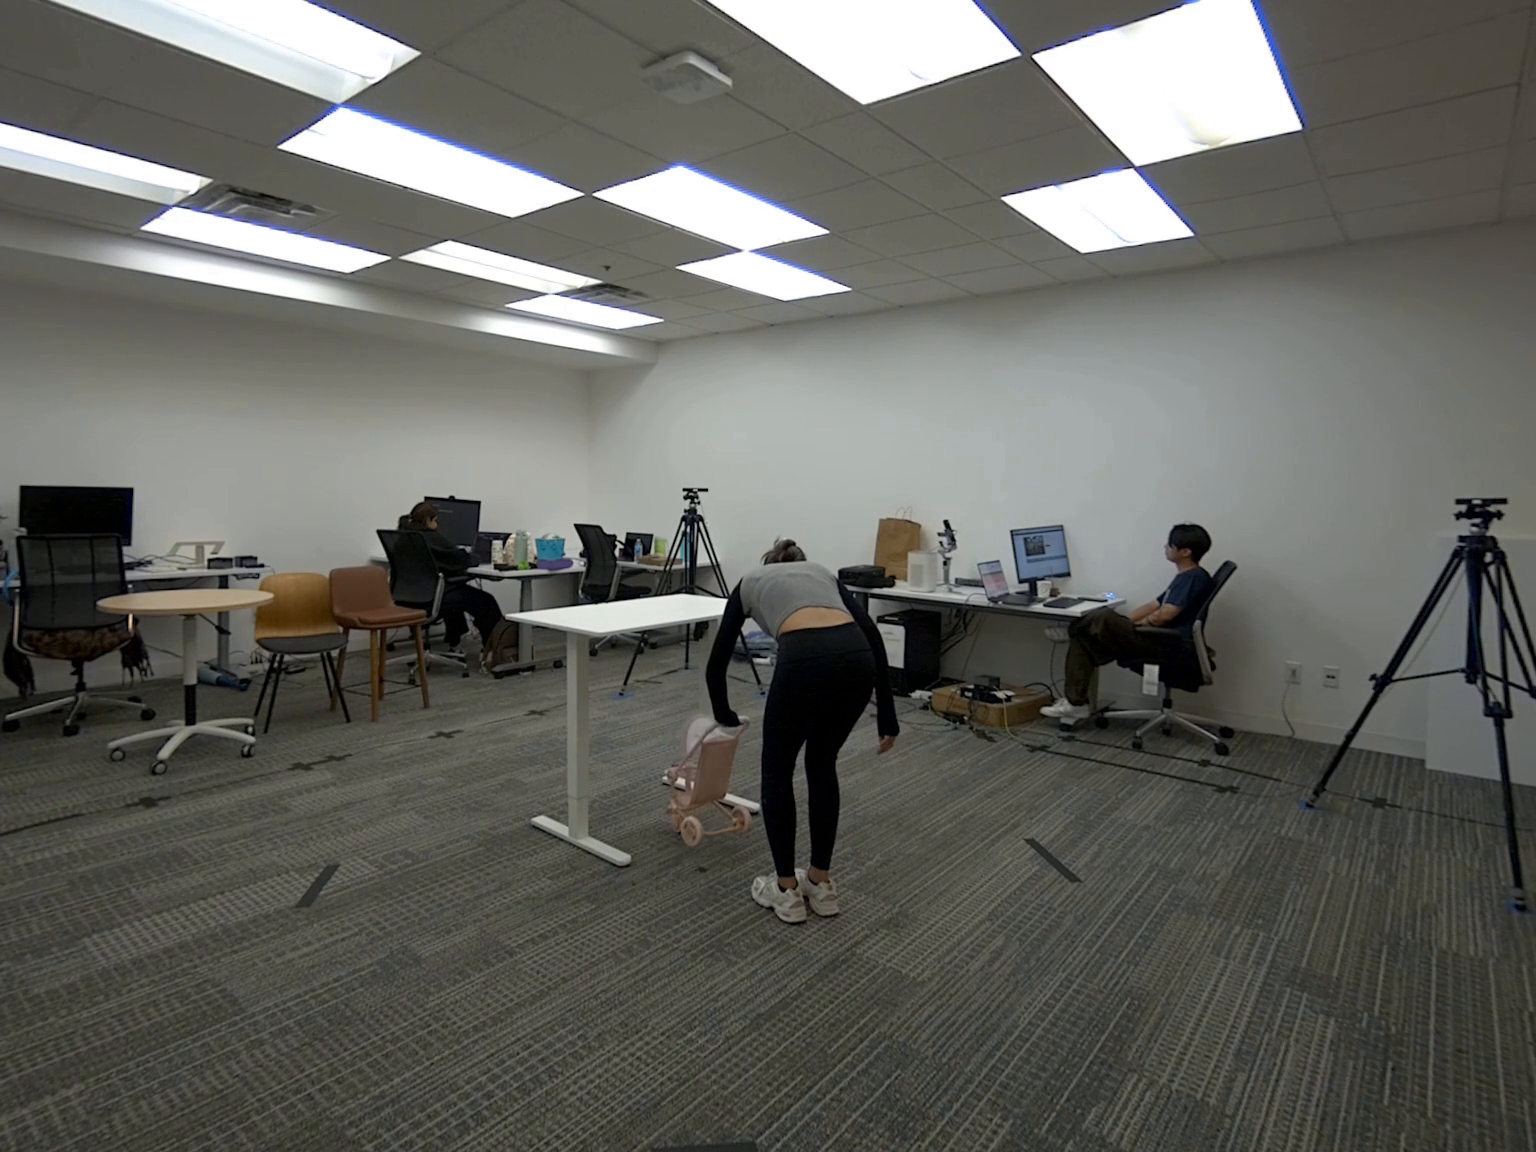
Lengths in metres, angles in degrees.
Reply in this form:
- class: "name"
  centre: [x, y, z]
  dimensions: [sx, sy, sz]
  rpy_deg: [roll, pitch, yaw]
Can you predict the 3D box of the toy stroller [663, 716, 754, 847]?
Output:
- class: "toy stroller"
  centre: [-0.263, 0.785, 3.334]
  dimensions: [0.272, 0.534, 0.353]
  rpy_deg: [2, 3, -39]
